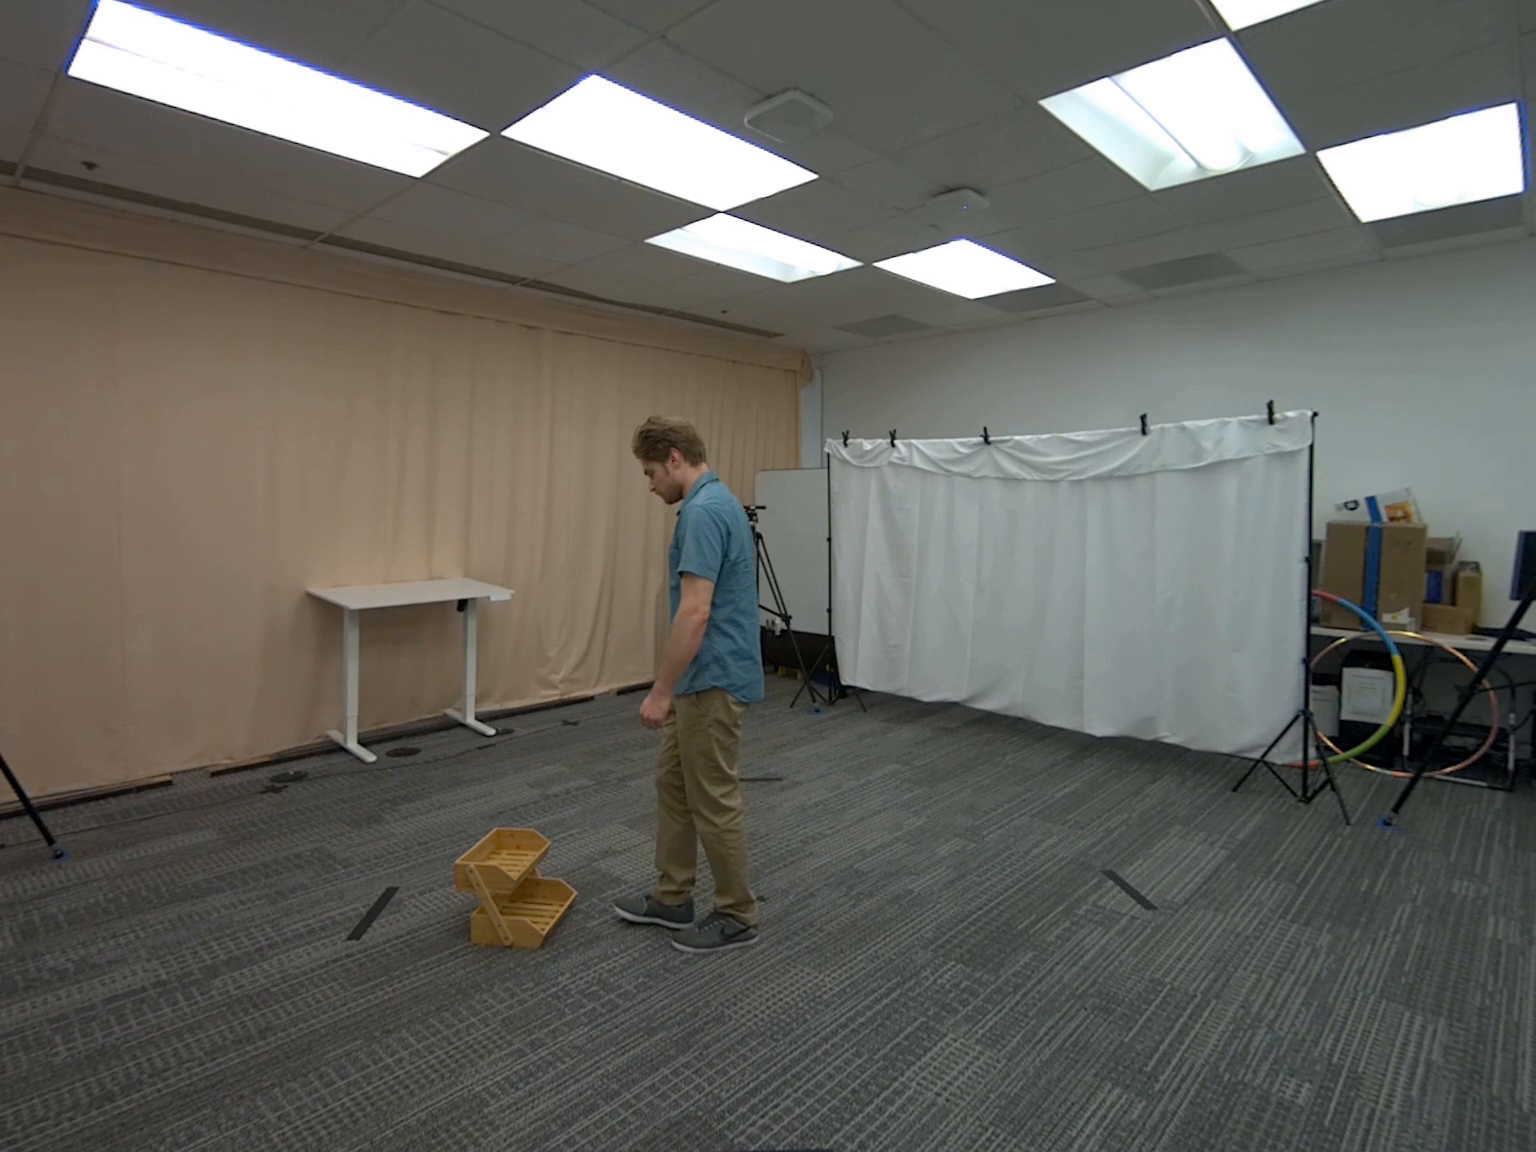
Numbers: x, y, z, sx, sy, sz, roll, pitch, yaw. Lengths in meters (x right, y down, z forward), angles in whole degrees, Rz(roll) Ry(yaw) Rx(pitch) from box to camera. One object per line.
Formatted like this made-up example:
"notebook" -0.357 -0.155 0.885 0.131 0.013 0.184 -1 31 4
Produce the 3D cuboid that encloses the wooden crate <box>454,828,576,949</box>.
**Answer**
"wooden crate" -0.826 1.029 2.813 0.305 0.273 0.322 -2 4 9
